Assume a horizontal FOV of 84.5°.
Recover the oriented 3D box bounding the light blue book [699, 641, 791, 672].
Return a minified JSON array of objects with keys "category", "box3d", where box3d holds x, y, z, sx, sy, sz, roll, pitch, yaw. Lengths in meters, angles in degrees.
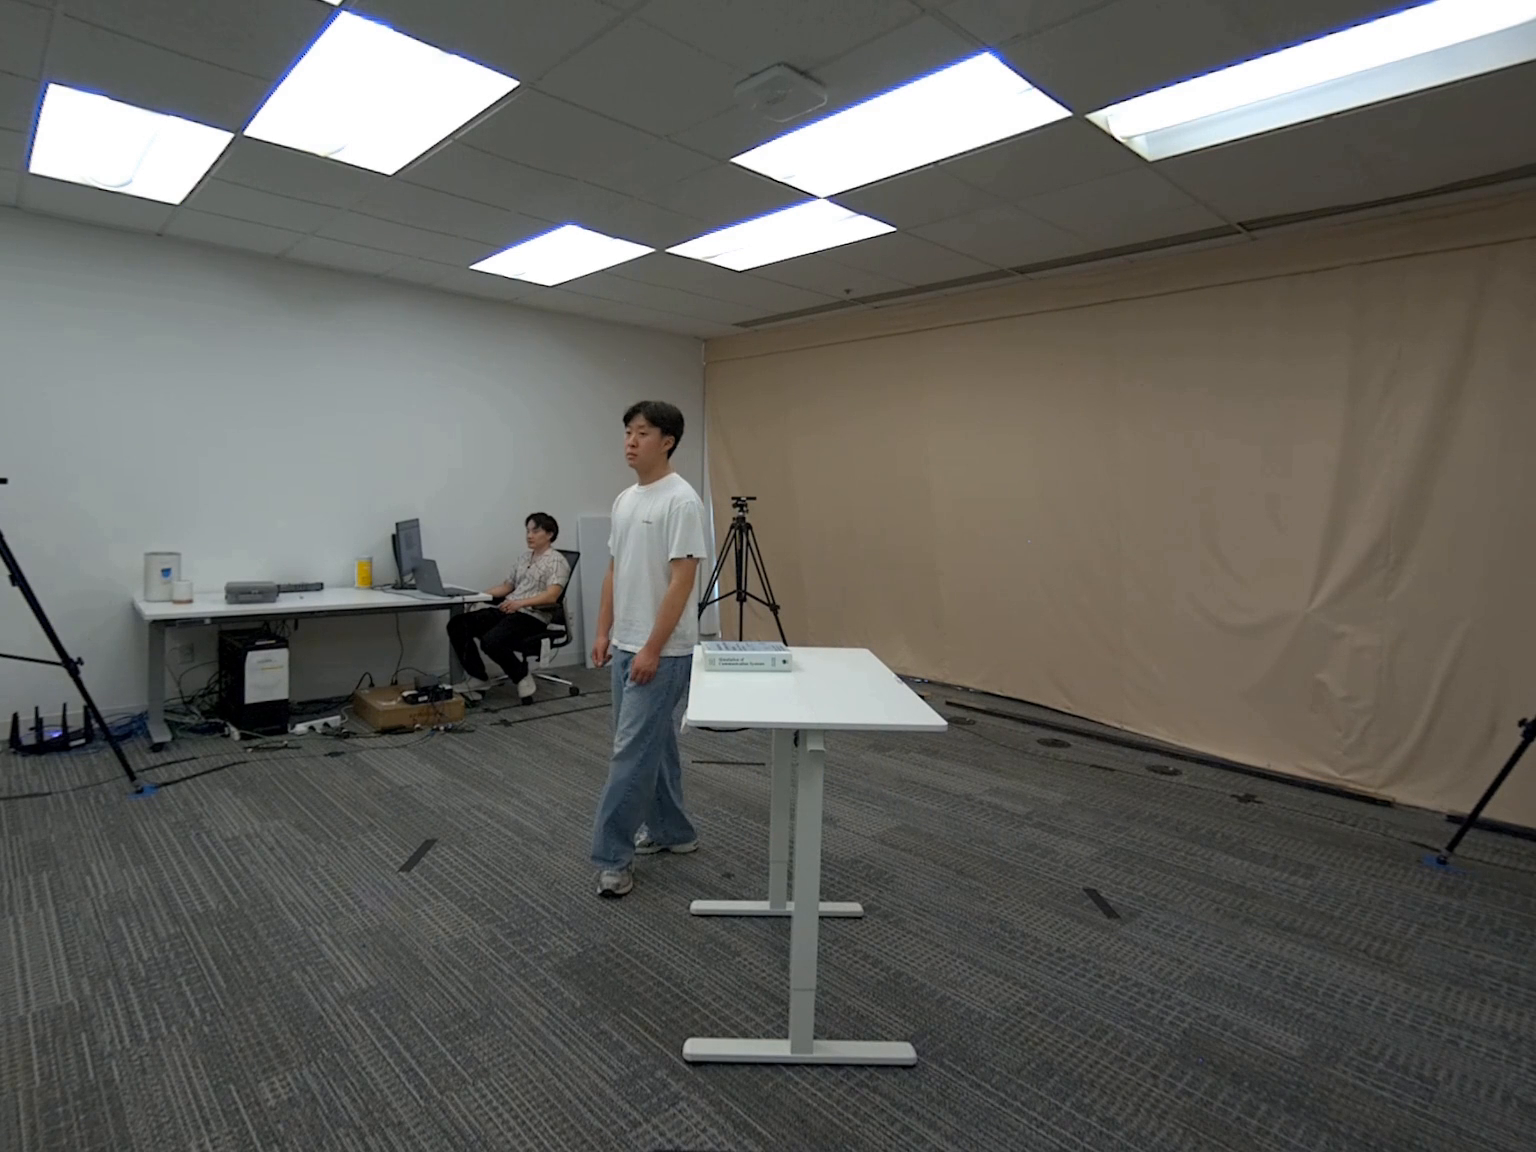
[{"category":"light blue book","box3d":[-0.078,0.253,2.560,0.259,0.059,0.193,2,3,-8]}]
